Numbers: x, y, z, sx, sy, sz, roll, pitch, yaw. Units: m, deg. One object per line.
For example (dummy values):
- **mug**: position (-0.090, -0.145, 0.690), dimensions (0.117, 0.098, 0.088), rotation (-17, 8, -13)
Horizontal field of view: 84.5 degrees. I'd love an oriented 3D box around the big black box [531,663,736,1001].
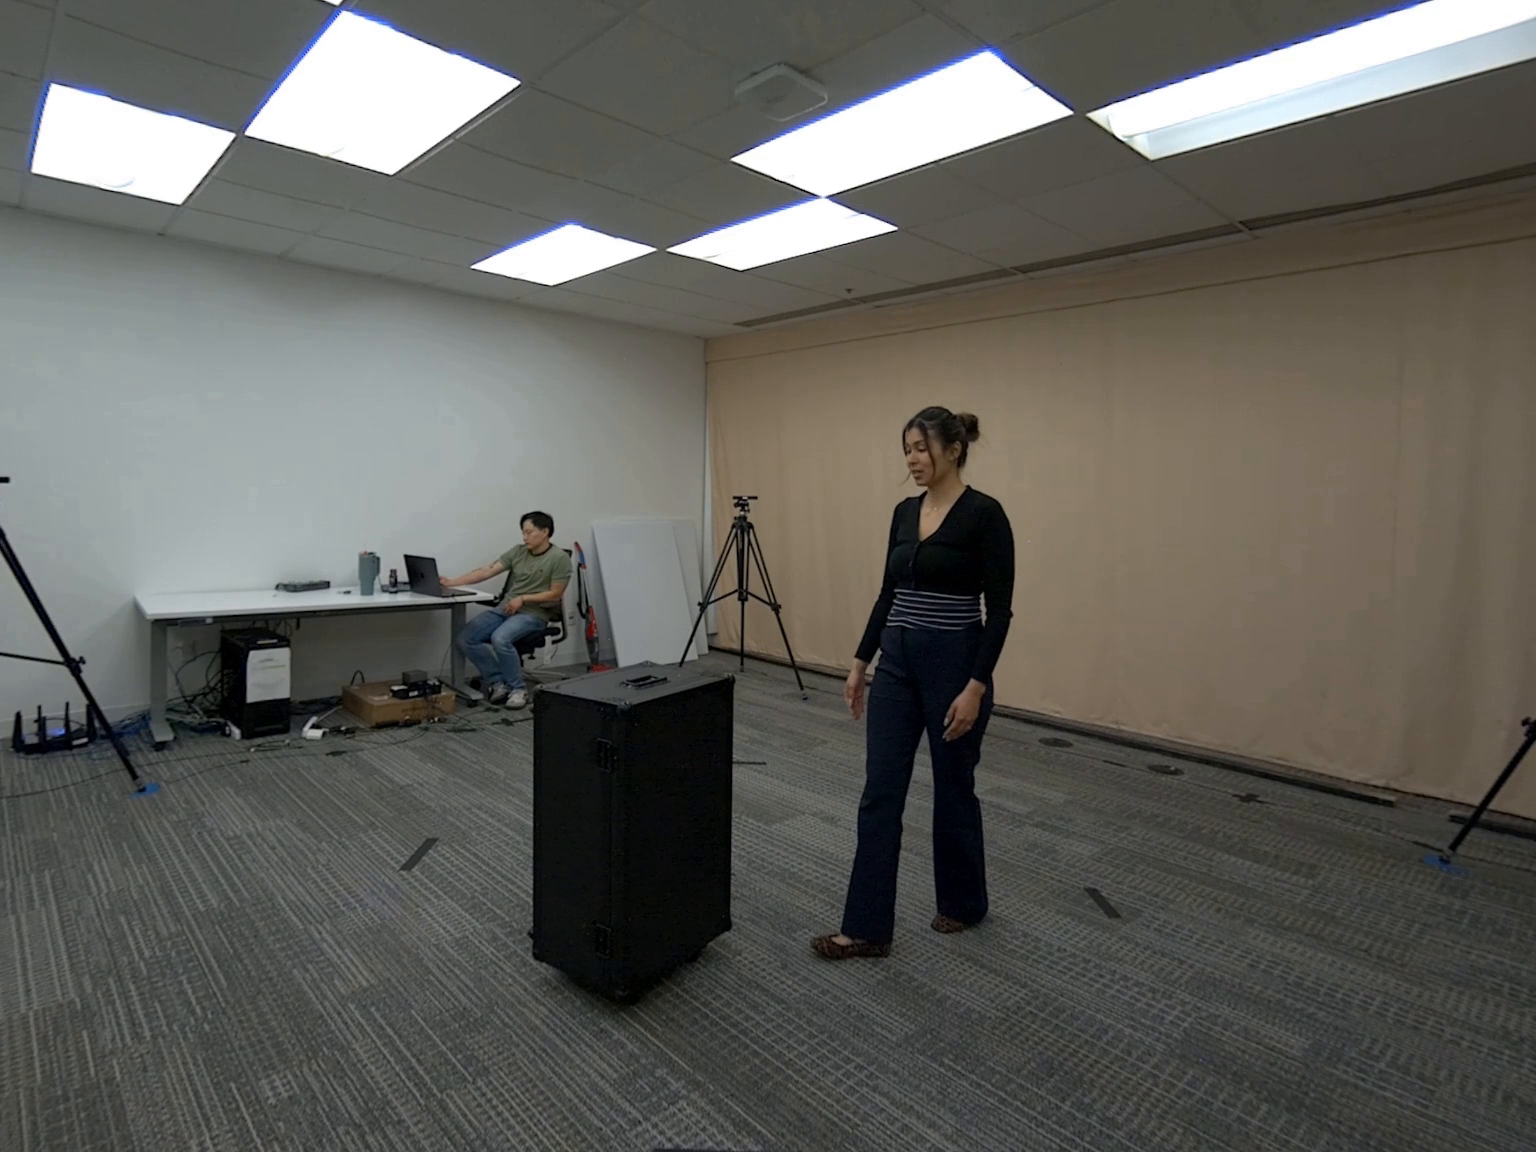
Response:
- **big black box**: position (-0.409, 0.736, 2.458), dimensions (0.405, 0.860, 0.510), rotation (2, 3, 33)
